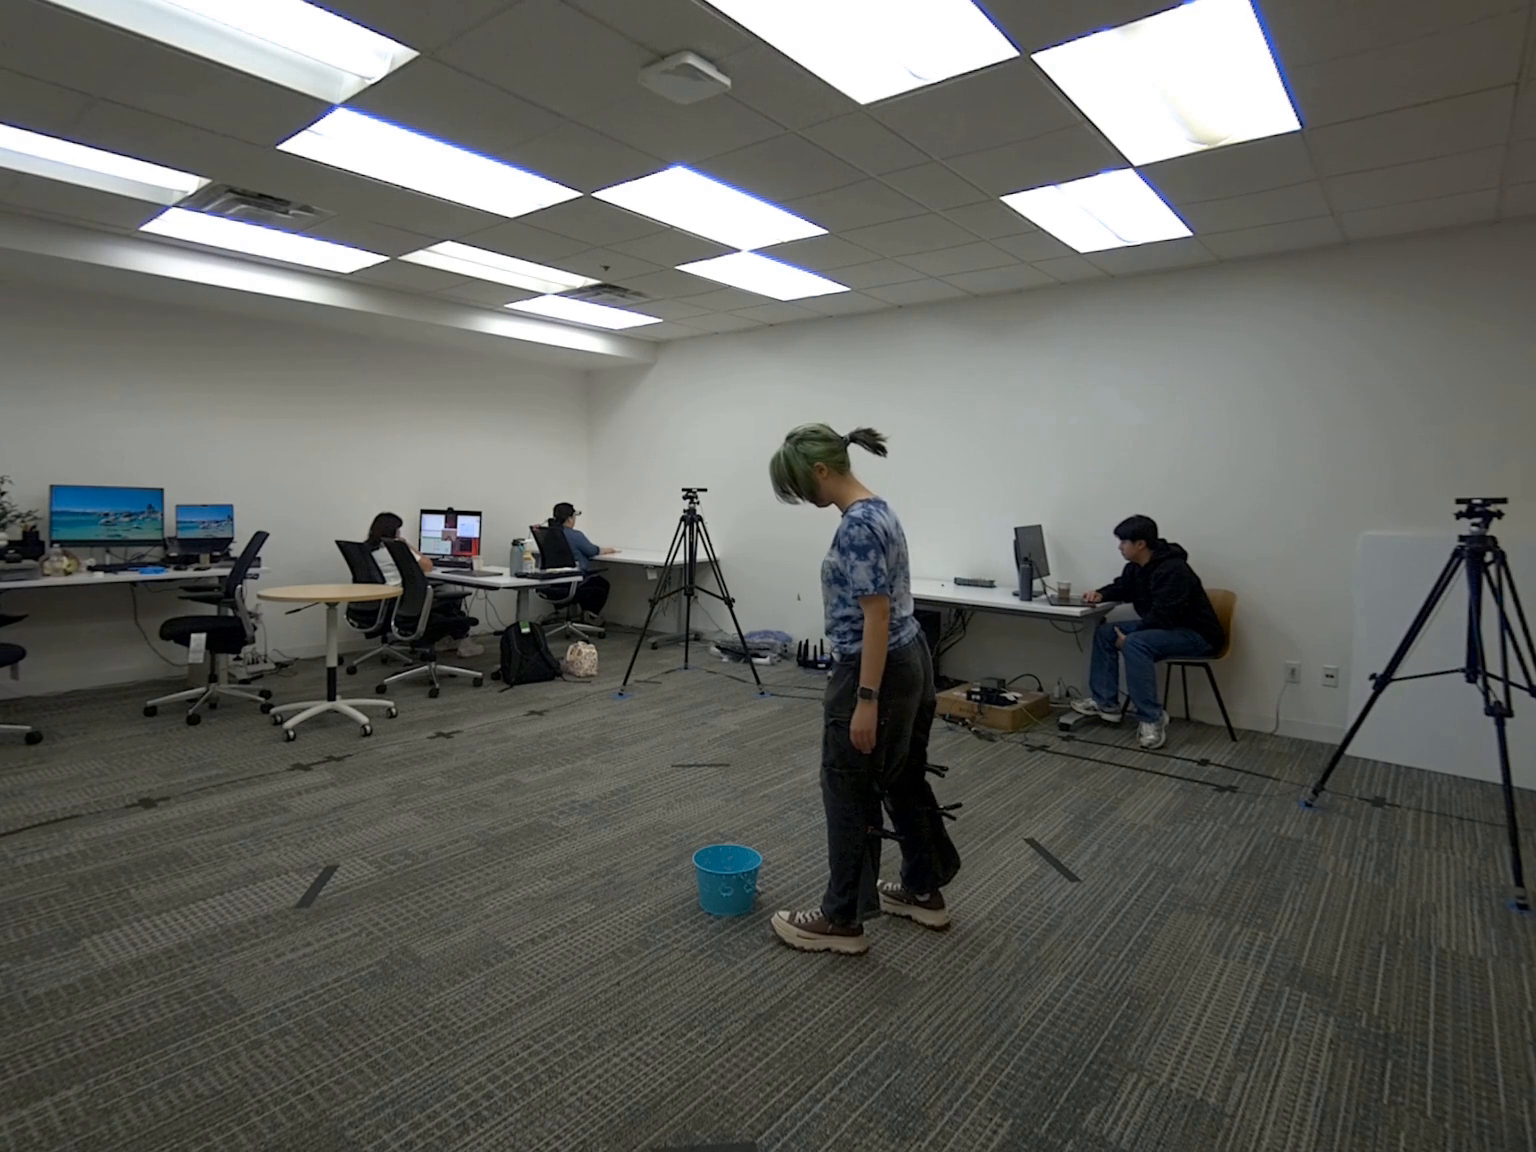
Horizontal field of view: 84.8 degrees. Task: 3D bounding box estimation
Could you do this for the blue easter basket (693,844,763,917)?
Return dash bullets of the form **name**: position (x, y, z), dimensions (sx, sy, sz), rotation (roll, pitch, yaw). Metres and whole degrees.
- **blue easter basket**: position (-0.146, 1.014, 2.851), dimensions (0.243, 0.155, 0.245), rotation (1, 4, -2)
